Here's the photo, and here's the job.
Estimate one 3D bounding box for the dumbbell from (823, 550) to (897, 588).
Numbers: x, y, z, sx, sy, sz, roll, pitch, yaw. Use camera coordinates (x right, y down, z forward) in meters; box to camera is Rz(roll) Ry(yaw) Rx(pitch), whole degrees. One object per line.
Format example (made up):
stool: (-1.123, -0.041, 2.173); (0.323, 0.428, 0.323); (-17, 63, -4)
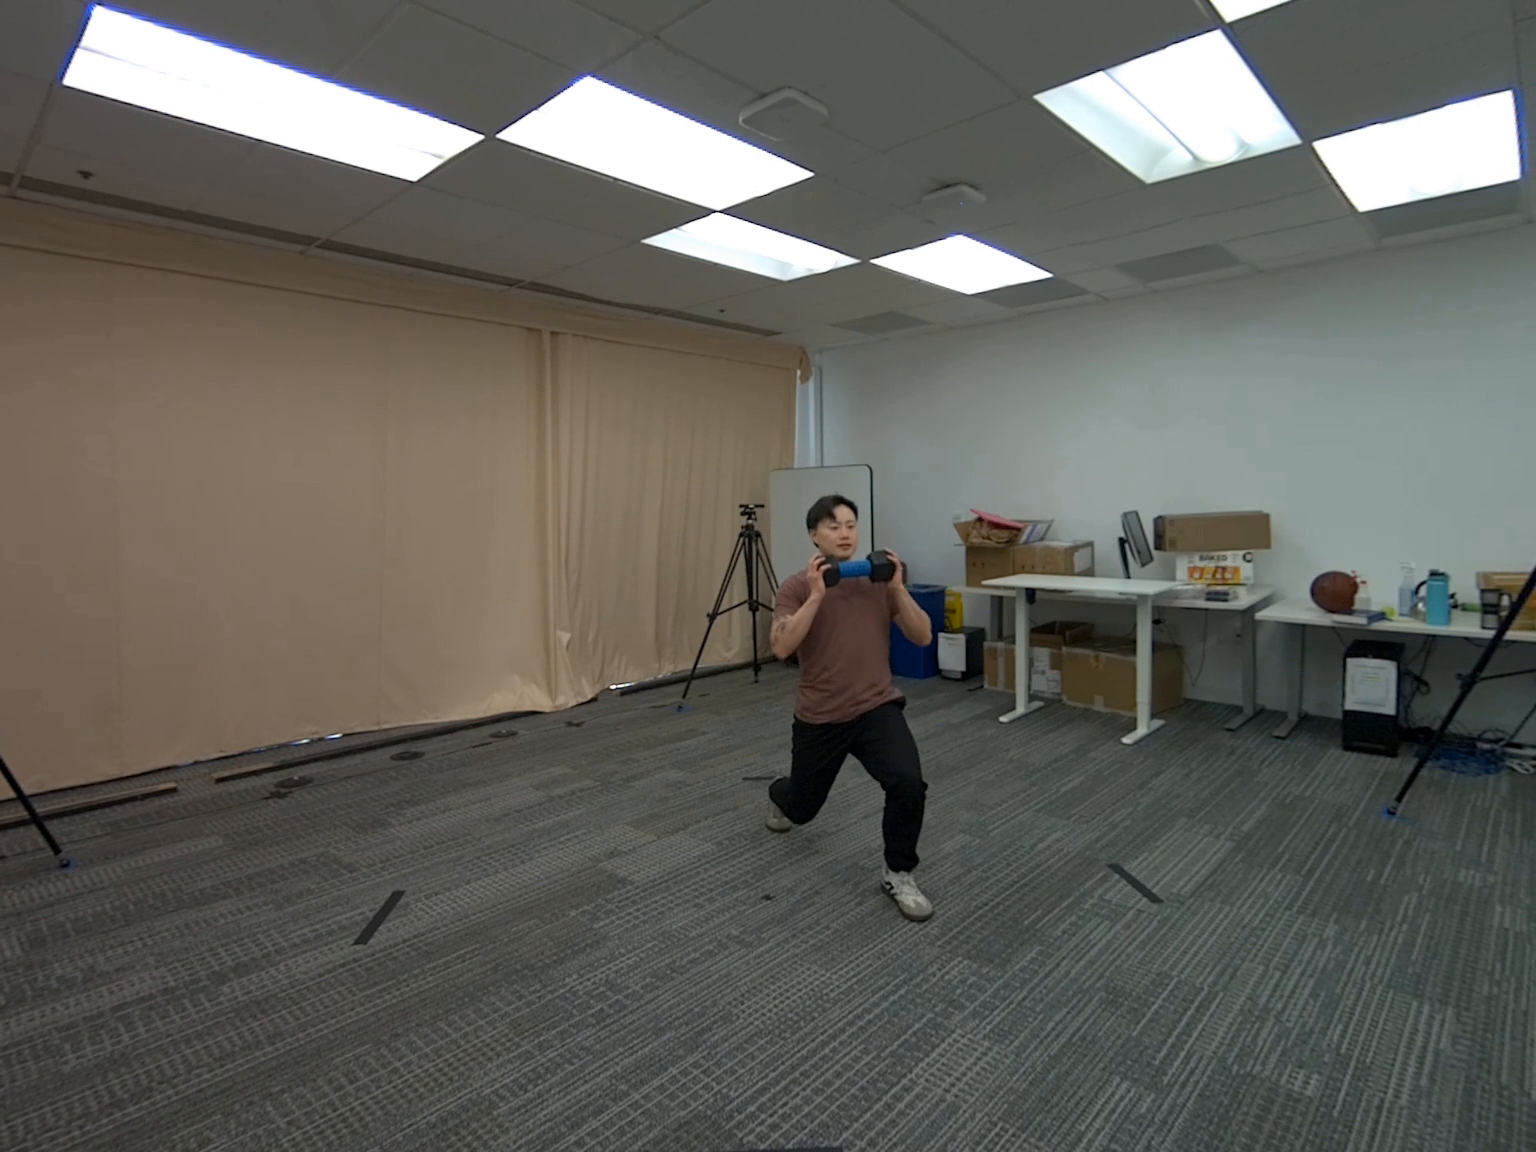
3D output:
dumbbell: (0.328, -0.022, 3.108); (0.291, 0.110, 0.123); (-6, -11, -8)
